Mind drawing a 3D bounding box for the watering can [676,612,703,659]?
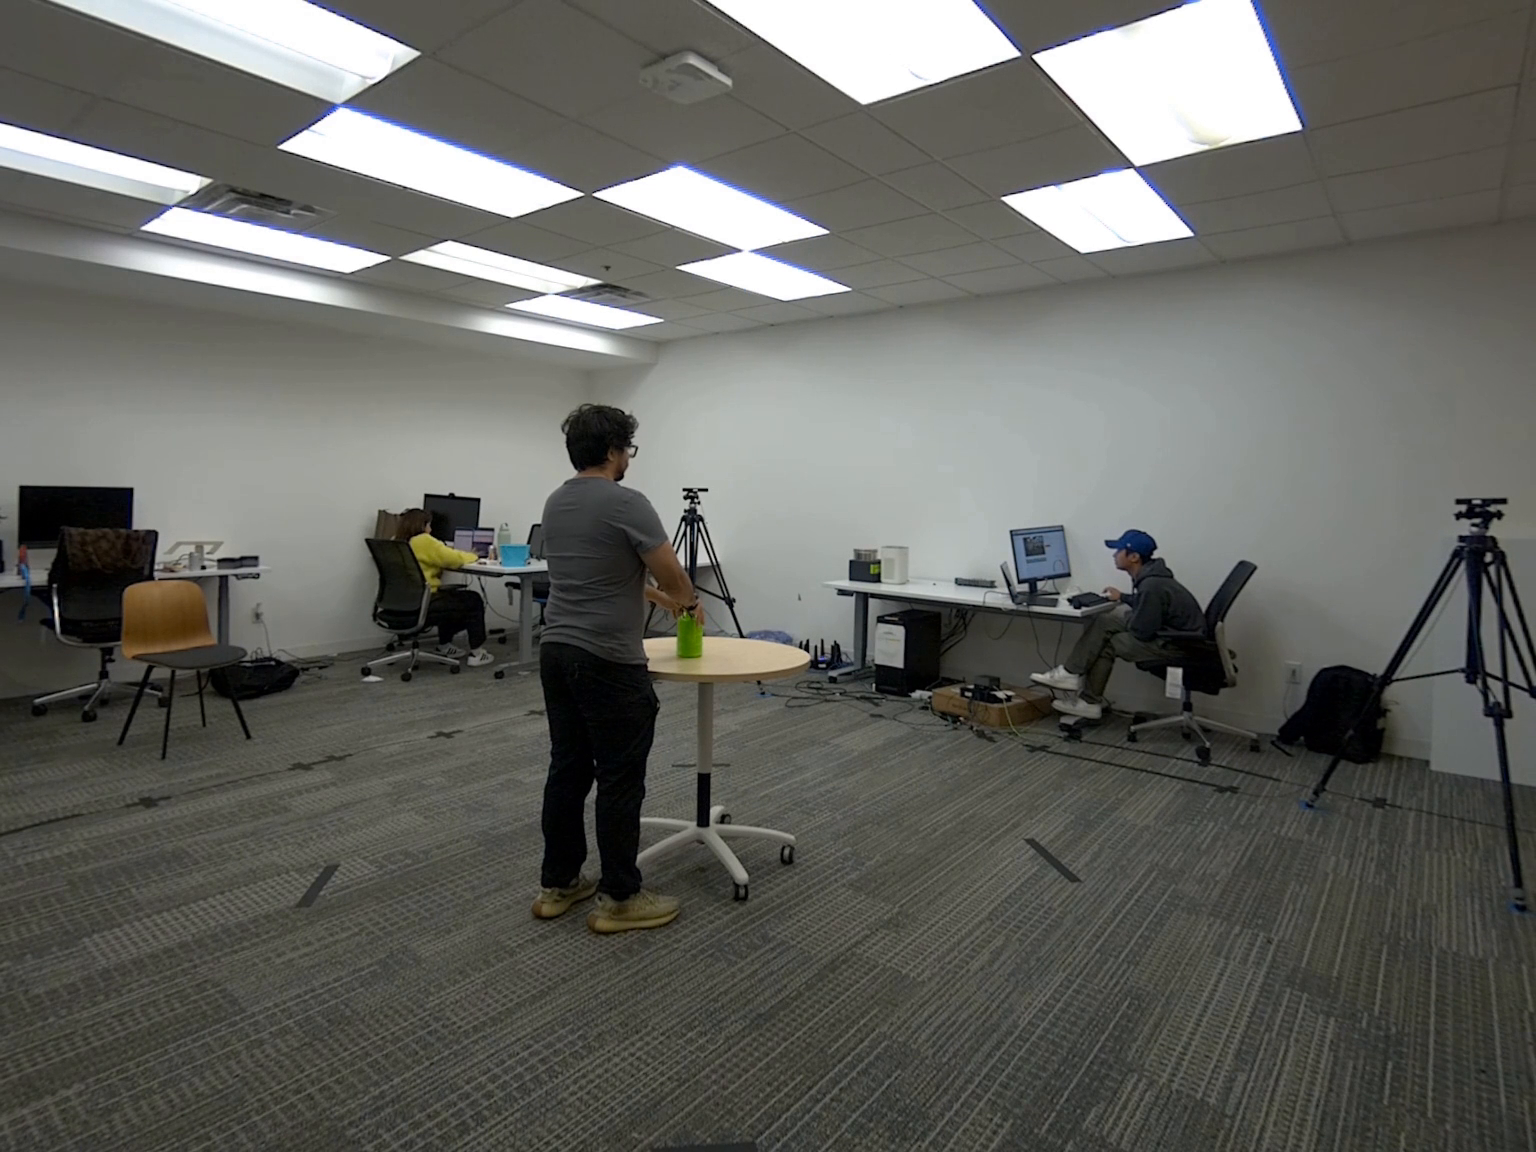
[{"bbox_3d":[-0.289,0.195,3.141,0.099,0.176,0.277,1,7,8],"label":"watering can"}]
